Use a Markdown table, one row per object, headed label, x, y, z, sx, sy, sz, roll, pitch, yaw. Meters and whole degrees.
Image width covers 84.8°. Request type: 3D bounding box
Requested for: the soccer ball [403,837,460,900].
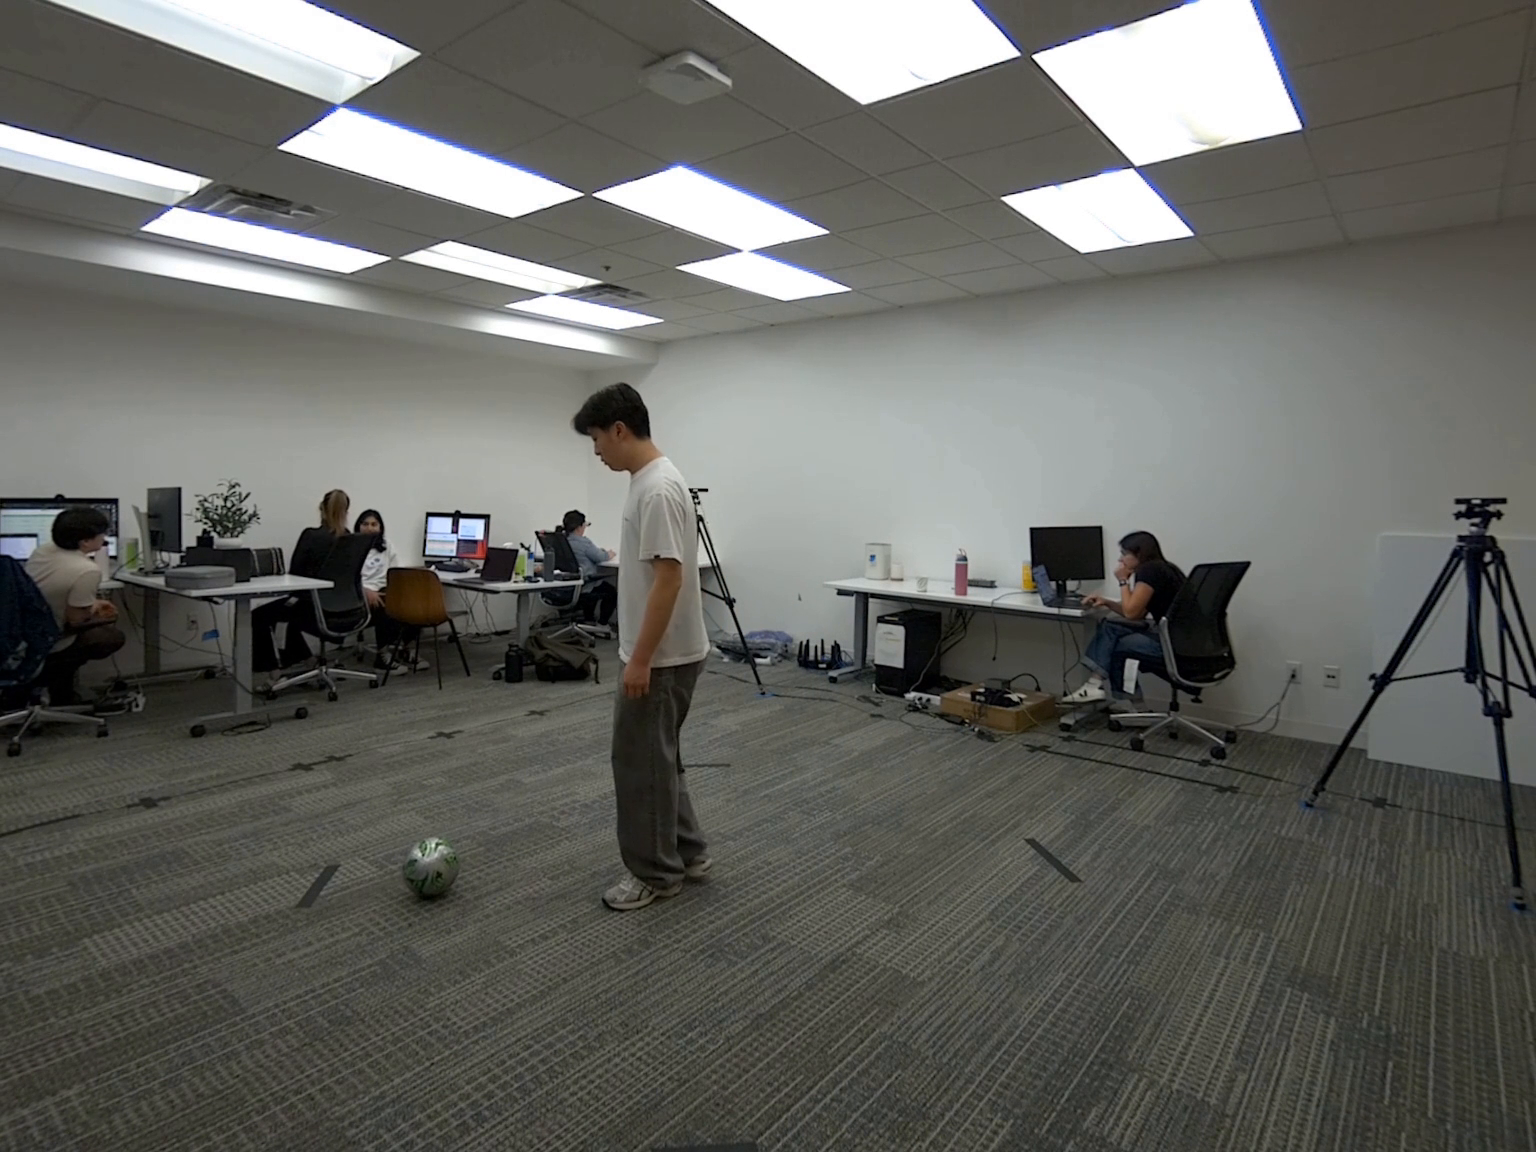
| label | x | y | z | sx | sy | sz | roll | pitch | yaw |
| --- | --- | --- | --- | --- | --- | --- | --- | --- | --- |
| soccer ball | -1.143 | 0.983 | 2.899 | 0.187 | 0.187 | 0.188 | 1 | 4 | -2 |
